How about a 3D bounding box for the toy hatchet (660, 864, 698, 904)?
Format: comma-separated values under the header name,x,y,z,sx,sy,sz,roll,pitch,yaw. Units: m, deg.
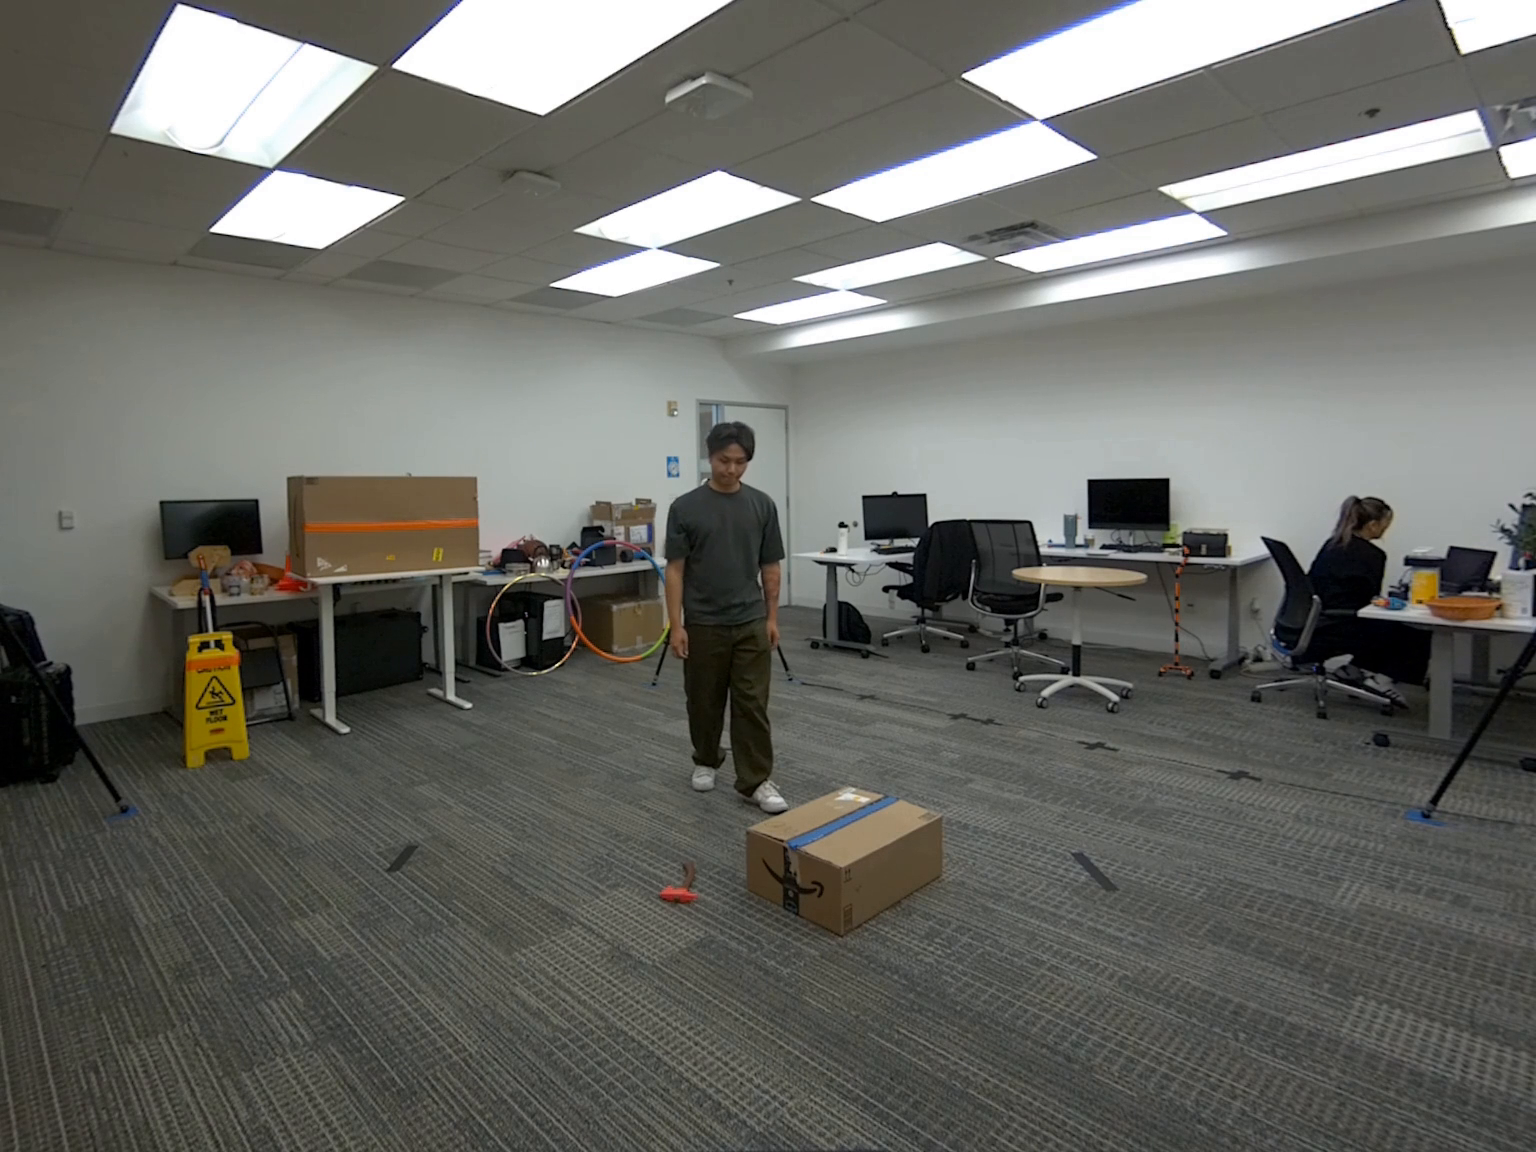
name,x,y,z,sx,sy,sz,roll,pitch,yaw
toy hatchet,-0.313,1.066,2.956,0.130,0.029,0.273,-5,5,-7
